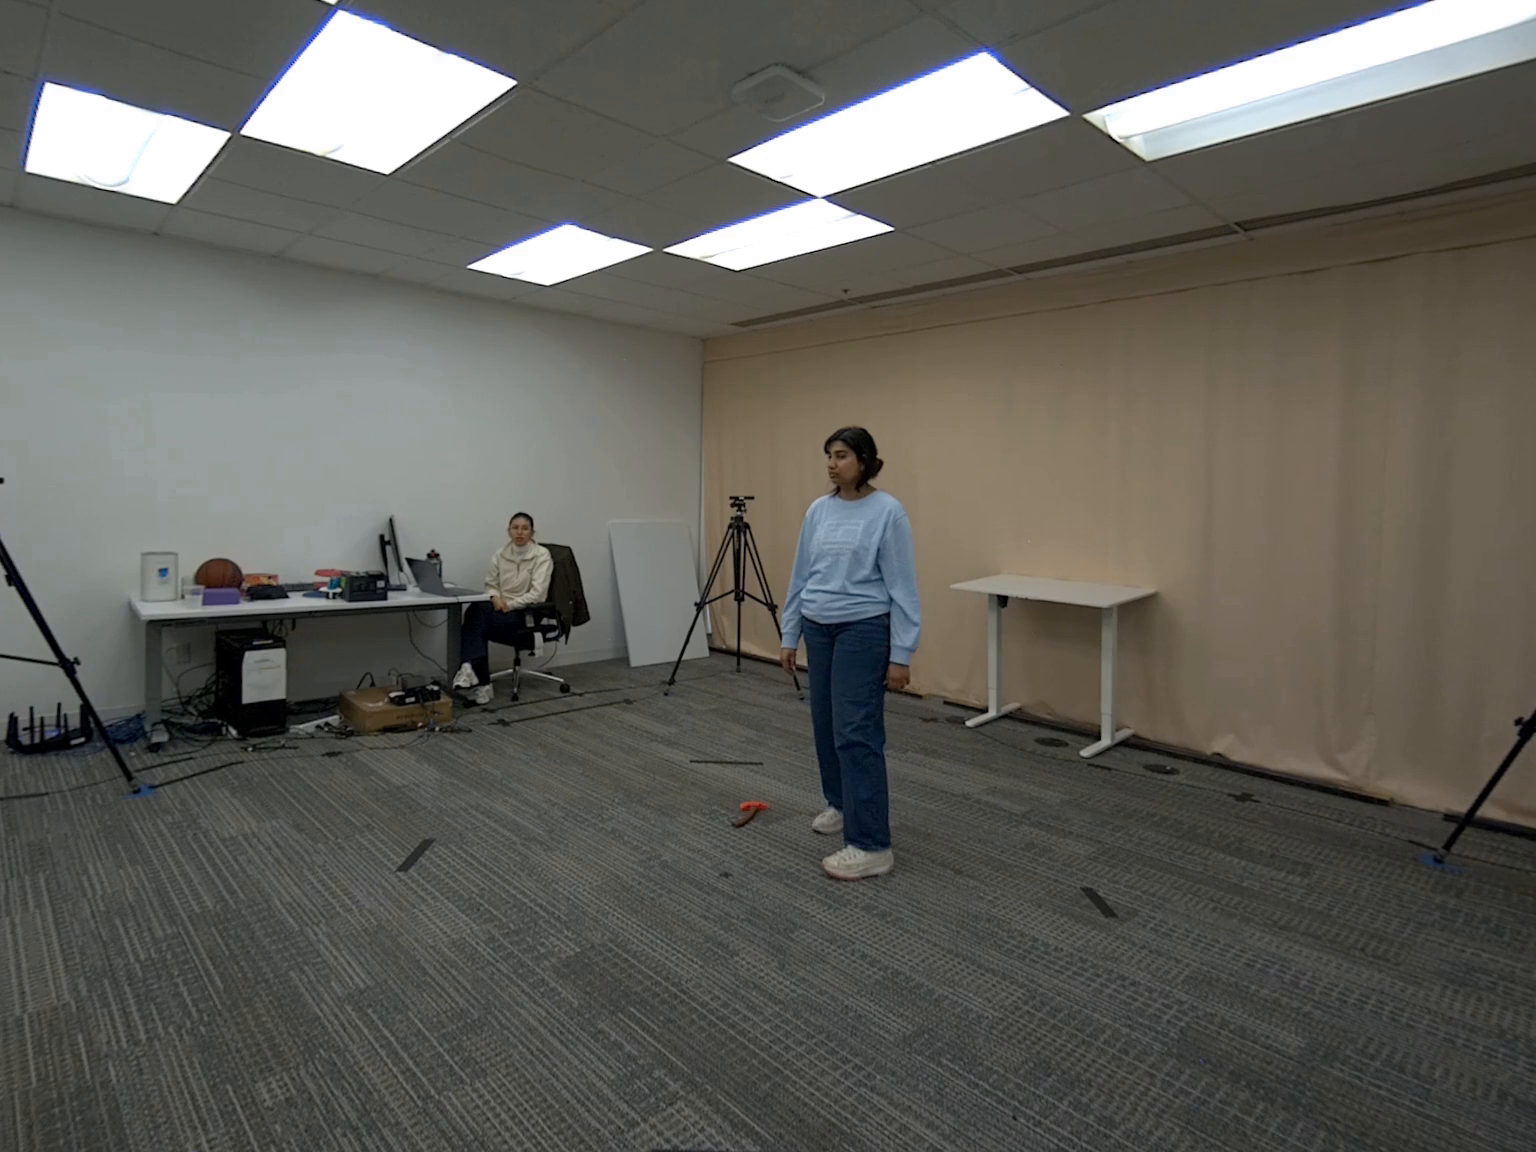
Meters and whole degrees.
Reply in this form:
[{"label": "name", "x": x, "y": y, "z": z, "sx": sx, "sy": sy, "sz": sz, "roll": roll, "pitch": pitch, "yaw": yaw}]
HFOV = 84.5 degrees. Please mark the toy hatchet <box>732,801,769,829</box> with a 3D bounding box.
[{"label": "toy hatchet", "x": -0.115, "y": 1.030, "z": 3.689, "sx": 0.134, "sy": 0.029, "sz": 0.265, "roll": 5, "pitch": 7, "yaw": 31}]
